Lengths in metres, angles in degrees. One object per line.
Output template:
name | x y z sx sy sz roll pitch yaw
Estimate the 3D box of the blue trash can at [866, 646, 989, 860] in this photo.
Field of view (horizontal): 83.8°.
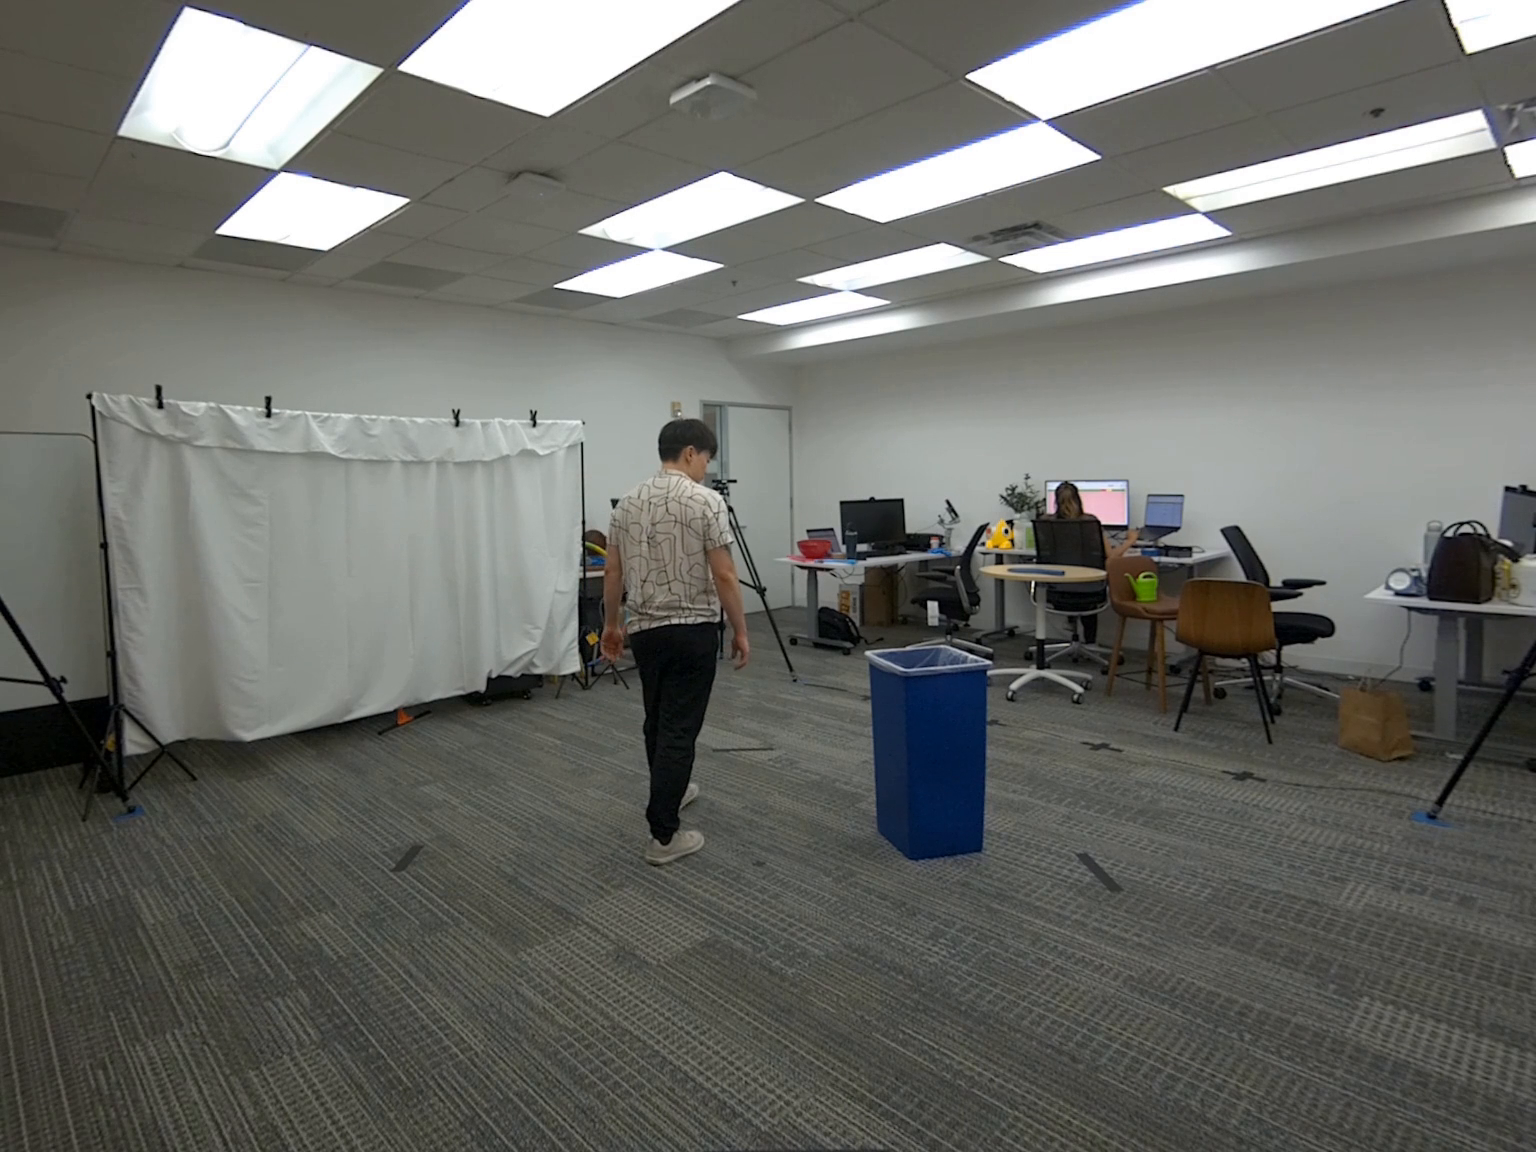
blue trash can | 0.603 0.660 3.259 0.369 0.711 0.385 -2 4 -16
